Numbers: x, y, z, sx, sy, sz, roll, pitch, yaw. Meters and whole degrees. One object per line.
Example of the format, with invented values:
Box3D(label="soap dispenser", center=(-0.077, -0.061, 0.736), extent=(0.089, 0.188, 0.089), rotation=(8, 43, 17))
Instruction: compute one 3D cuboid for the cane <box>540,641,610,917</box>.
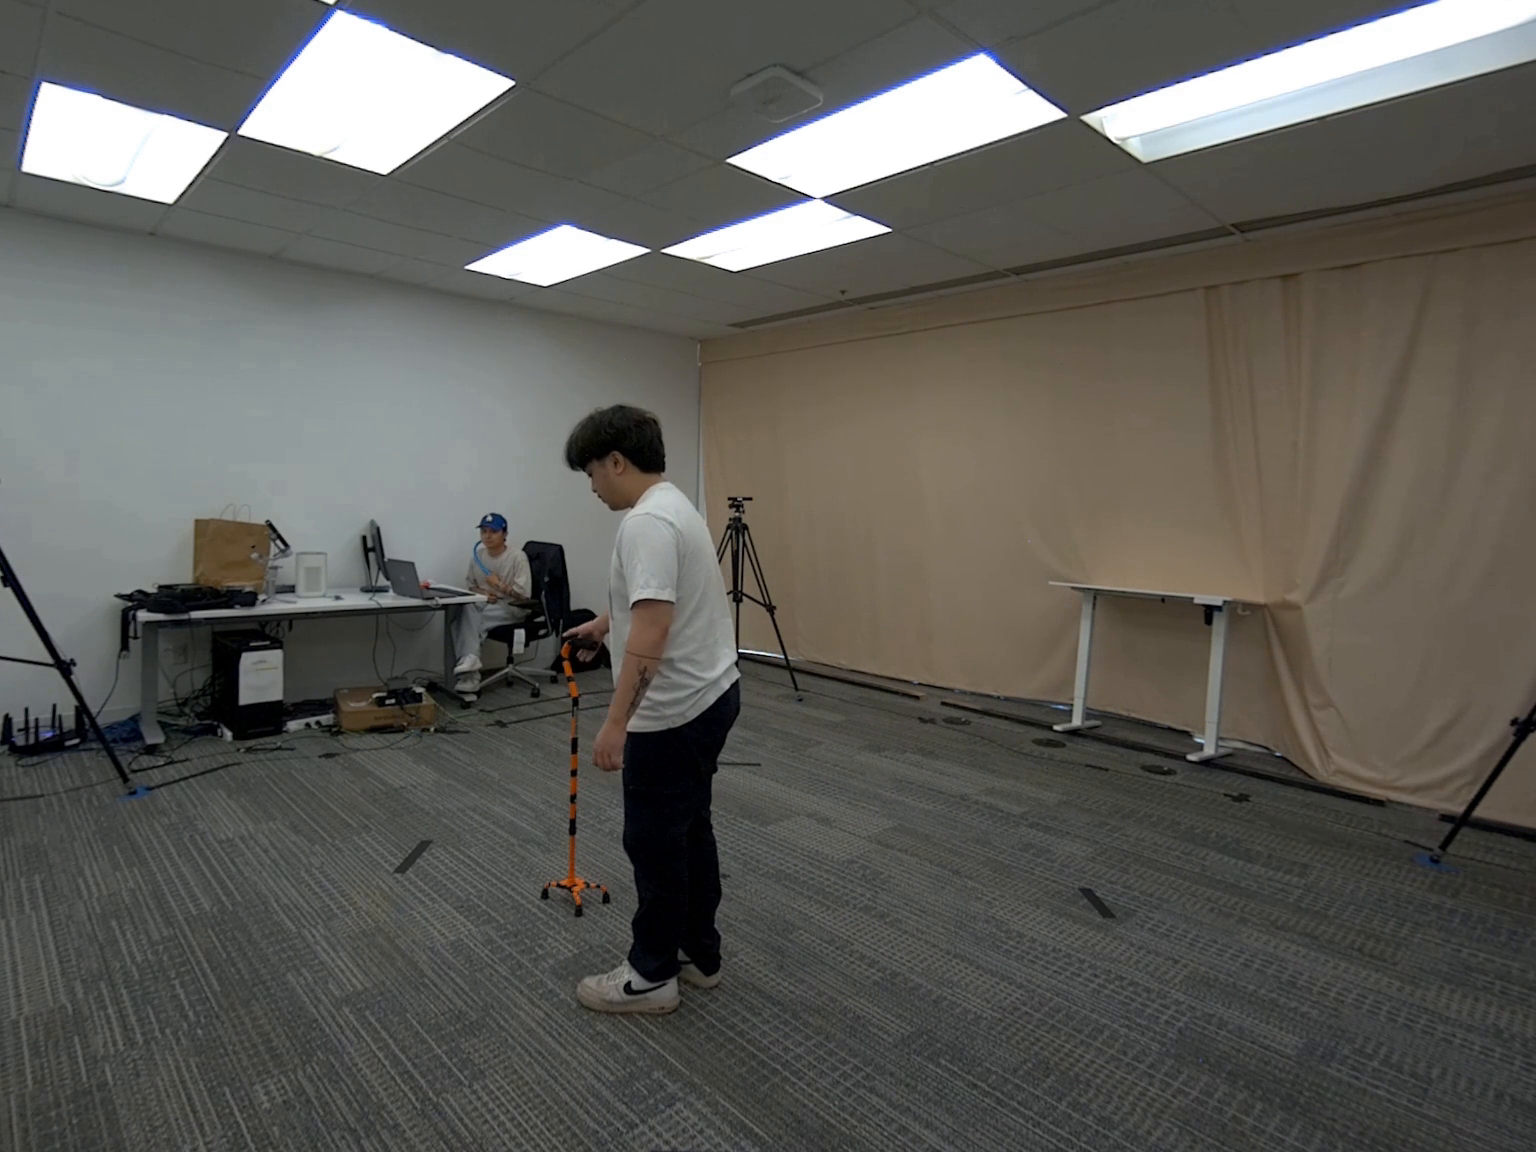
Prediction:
Box3D(label="cane", center=(-0.657, 0.667, 2.866), extent=(0.211, 0.905, 0.148), rotation=(4, 4, 39))
